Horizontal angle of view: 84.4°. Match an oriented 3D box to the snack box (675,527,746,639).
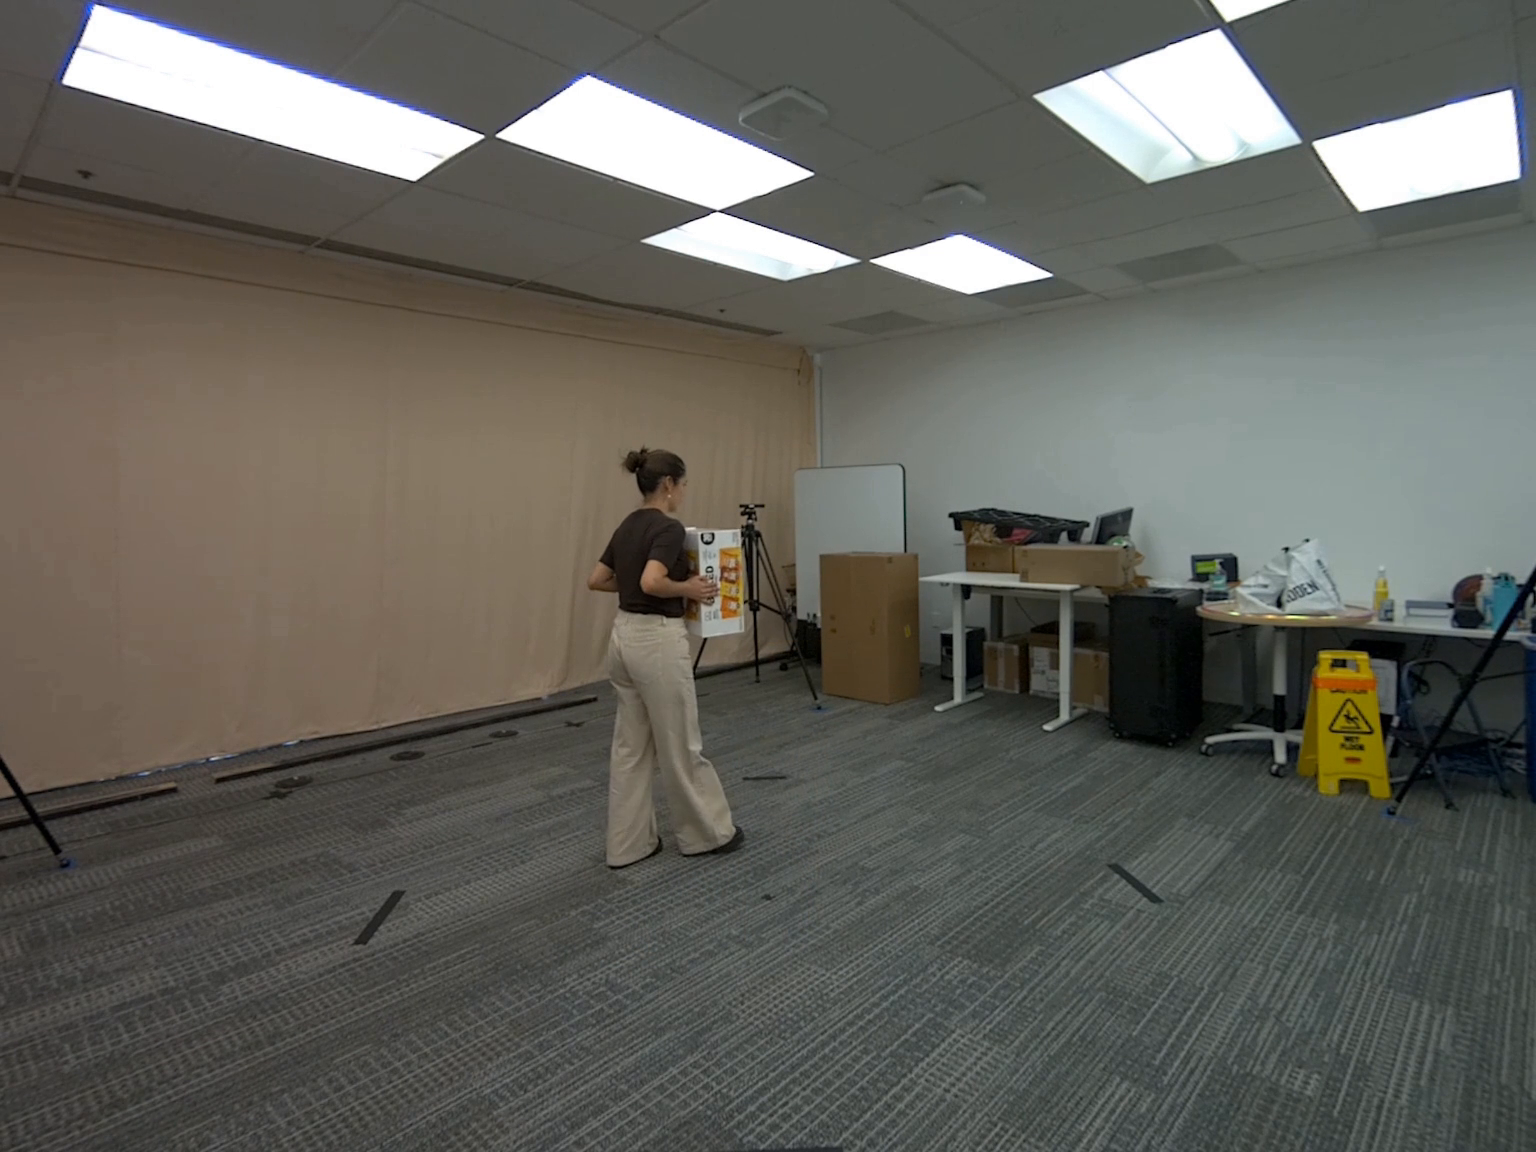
[{"bbox_3d":[-0.276,0.013,3.408,0.200,0.404,0.351,-4,6,-35],"label":"snack box"}]
